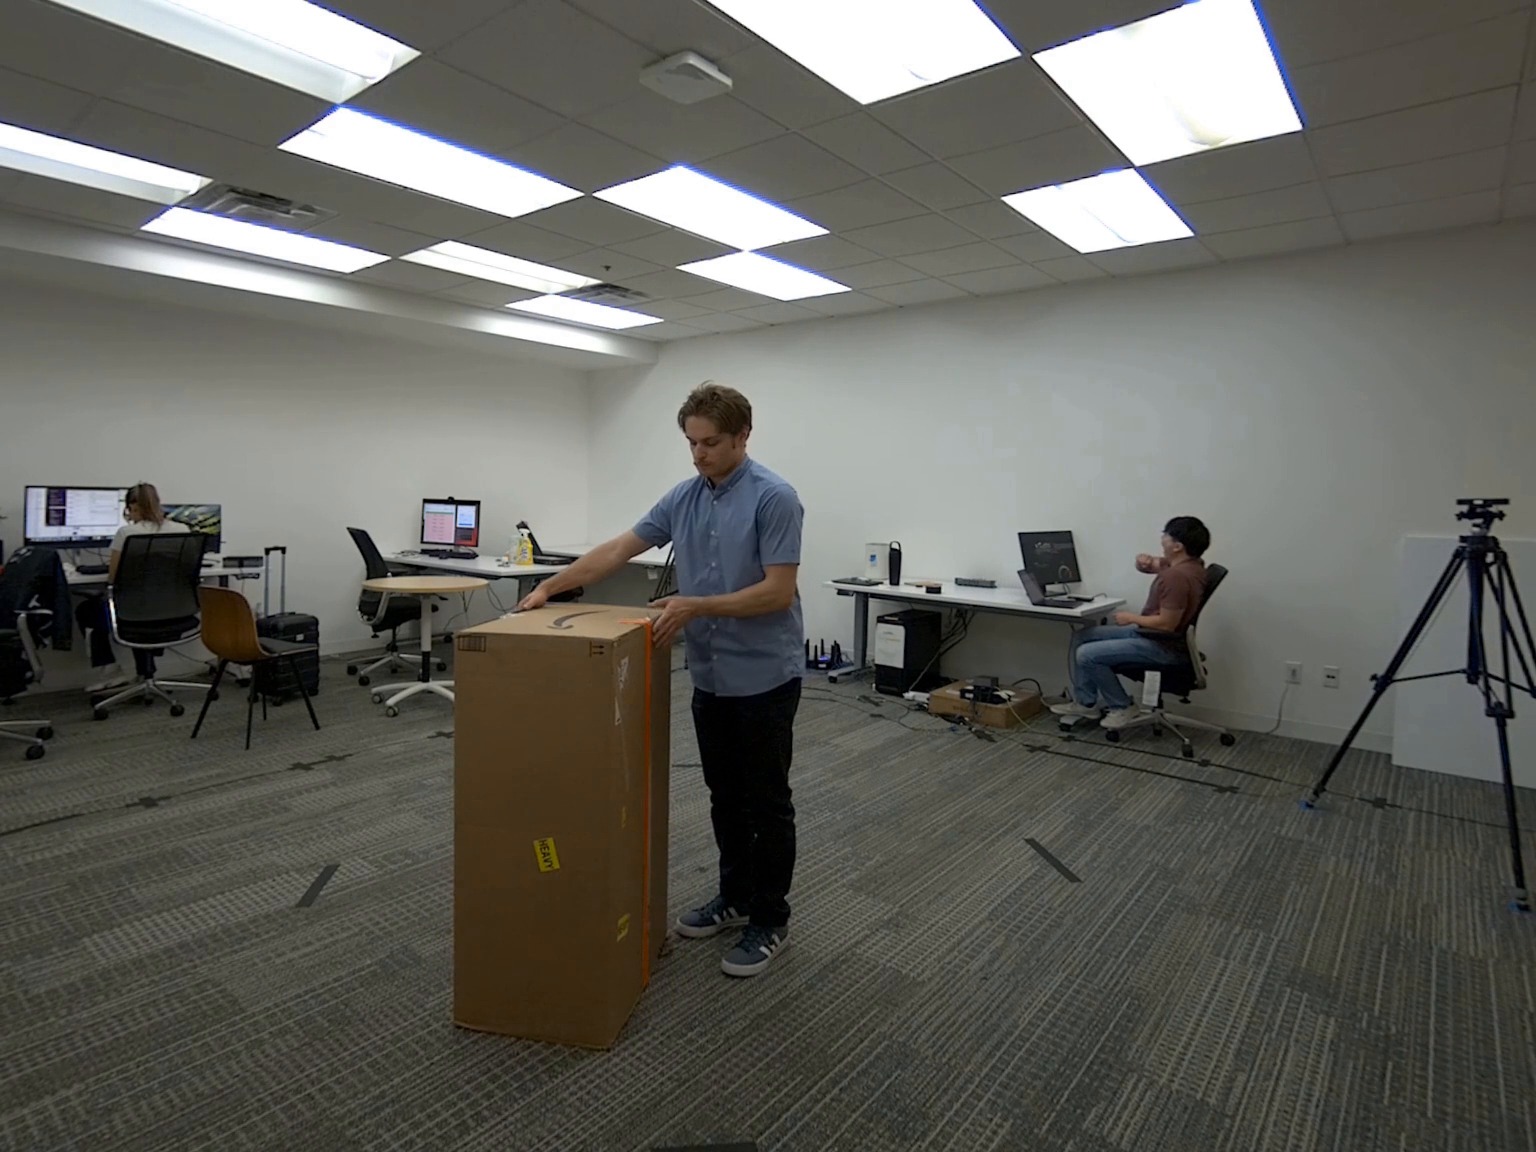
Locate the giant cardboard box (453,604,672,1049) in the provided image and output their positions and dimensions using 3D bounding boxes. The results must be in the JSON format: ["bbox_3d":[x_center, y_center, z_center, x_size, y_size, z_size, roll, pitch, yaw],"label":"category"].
[{"bbox_3d":[-0.552,0.626,2.387,0.431,1.024,0.572,1,2,10],"label":"giant cardboard box"}]
